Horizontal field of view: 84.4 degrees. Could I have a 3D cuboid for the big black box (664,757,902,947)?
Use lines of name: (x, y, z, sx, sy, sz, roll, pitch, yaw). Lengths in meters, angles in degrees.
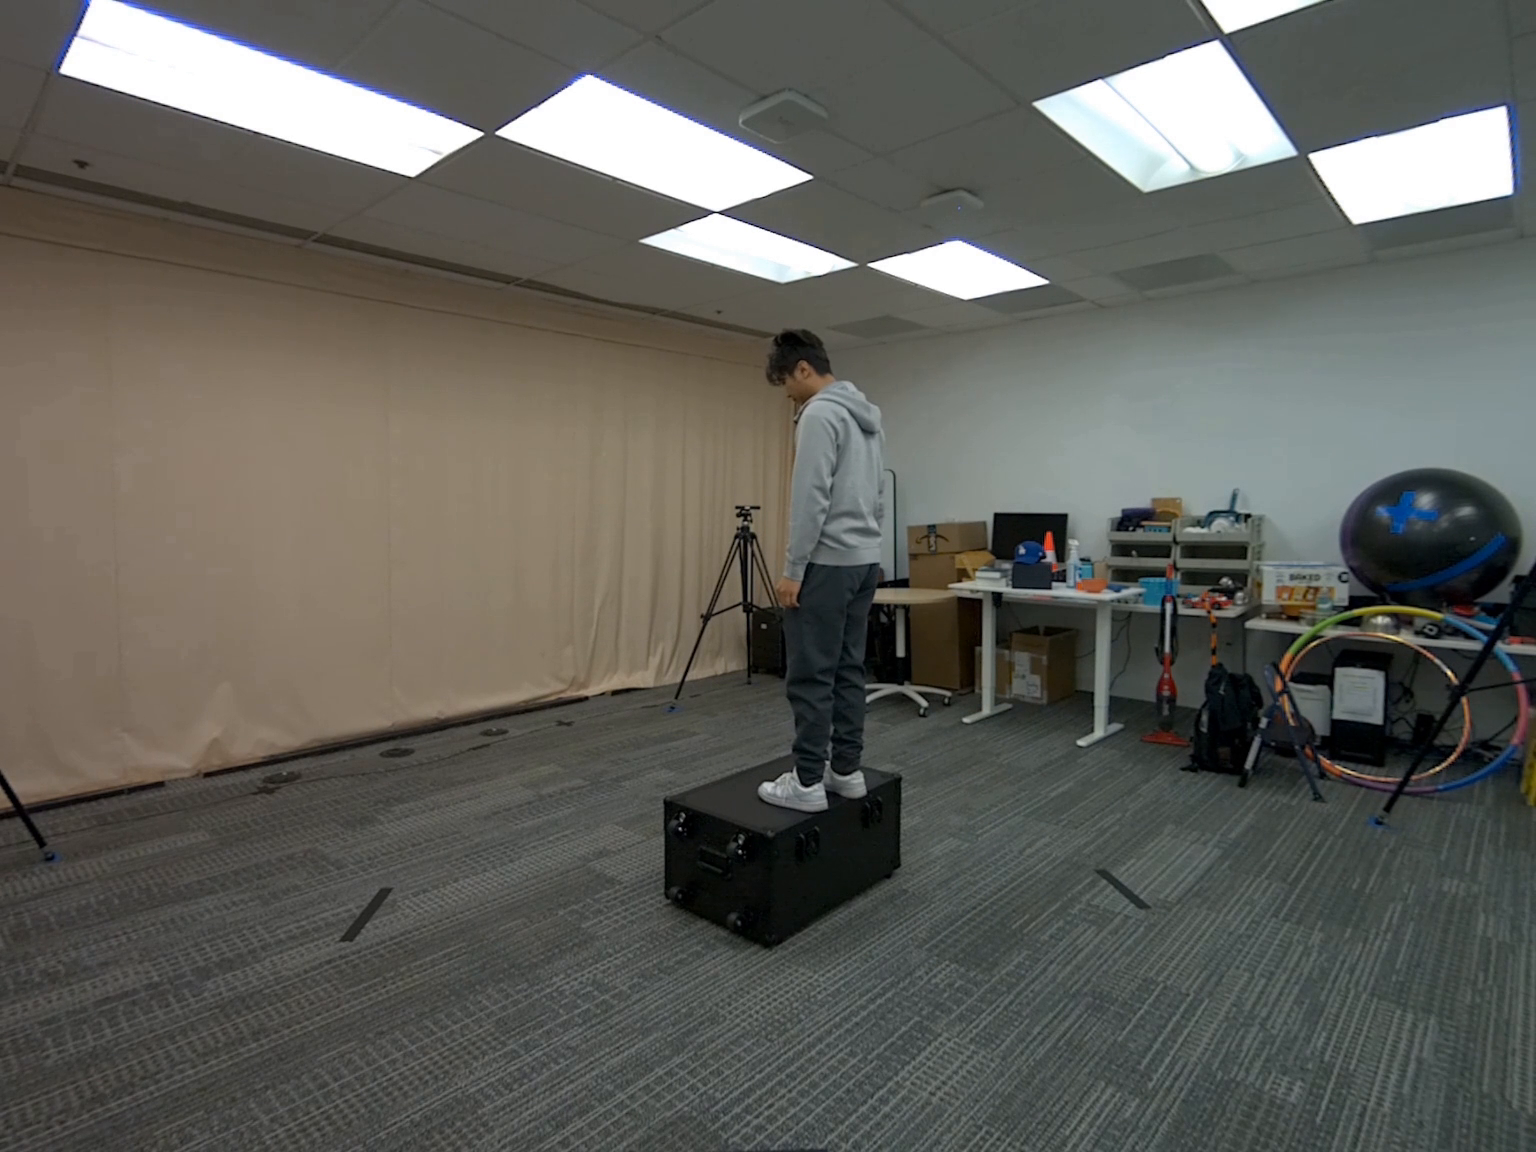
big black box: (0.051, 0.949, 3.034, 0.538, 0.395, 0.835, 4, 6, 41)
